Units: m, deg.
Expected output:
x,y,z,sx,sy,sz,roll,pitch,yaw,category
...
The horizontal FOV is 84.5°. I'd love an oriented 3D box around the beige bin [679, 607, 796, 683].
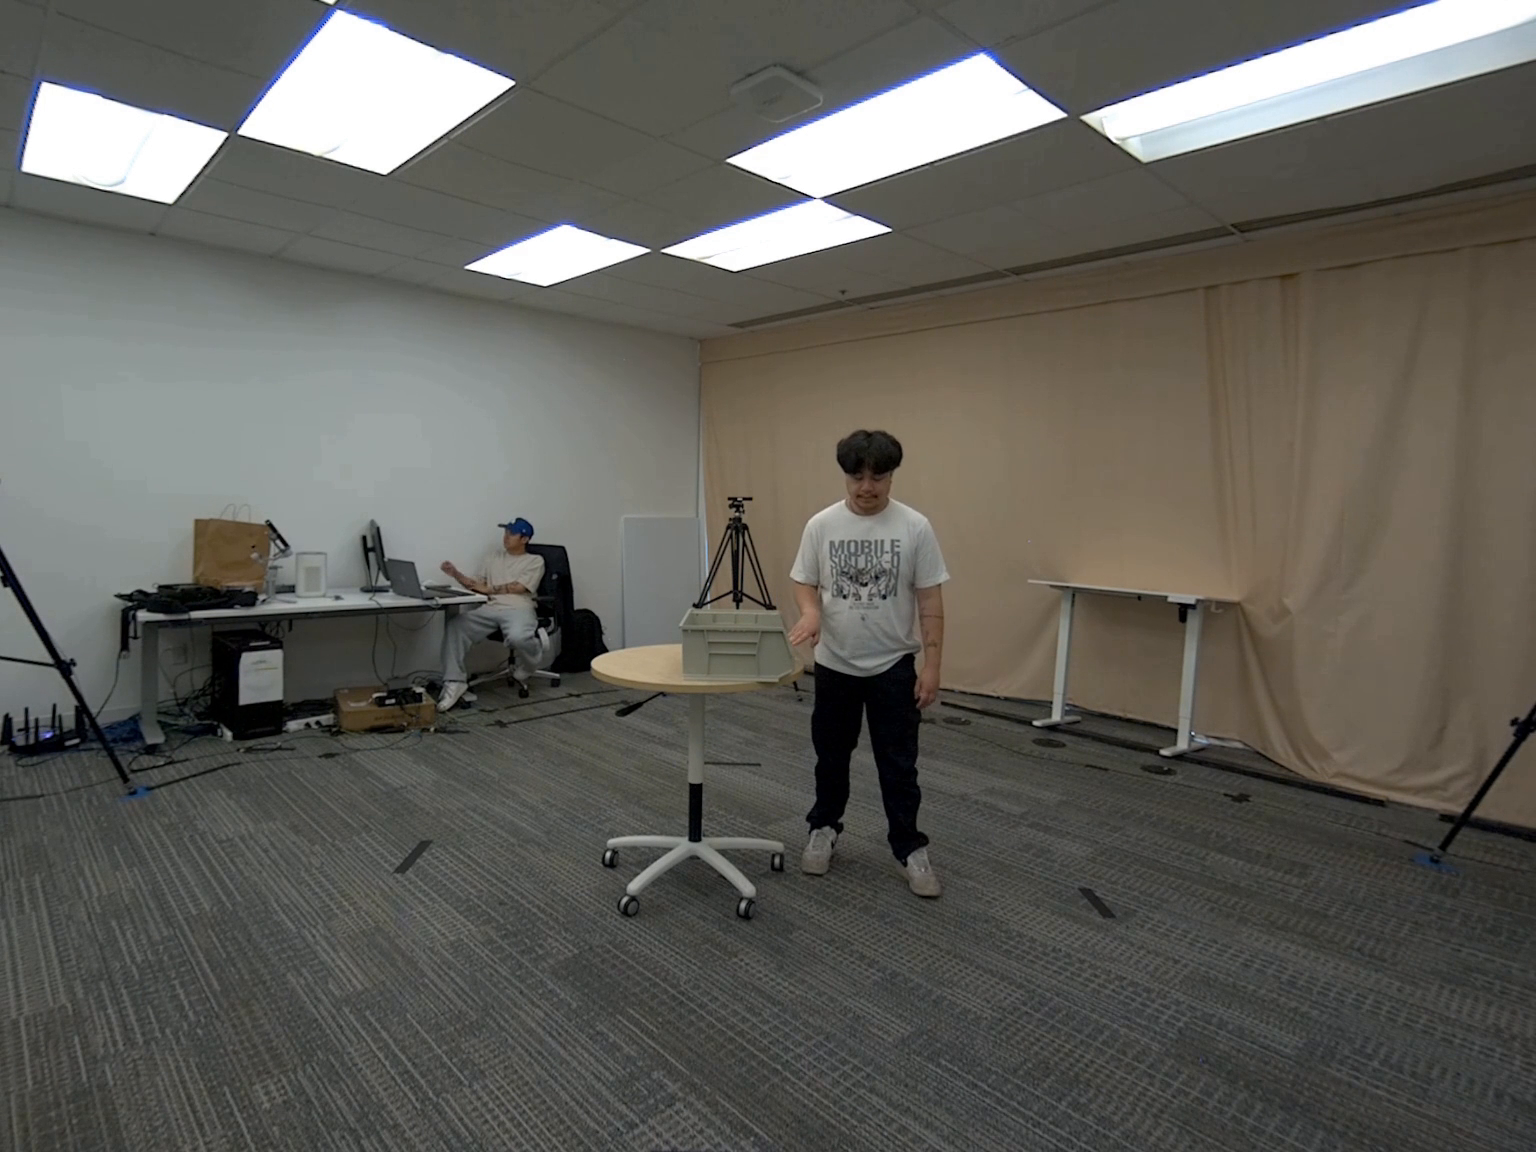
x,y,z,sx,sy,sz,roll,pitch,yaw,category
-0.103,0.233,2.925,0.377,0.188,0.423,0,5,-1,beige bin
